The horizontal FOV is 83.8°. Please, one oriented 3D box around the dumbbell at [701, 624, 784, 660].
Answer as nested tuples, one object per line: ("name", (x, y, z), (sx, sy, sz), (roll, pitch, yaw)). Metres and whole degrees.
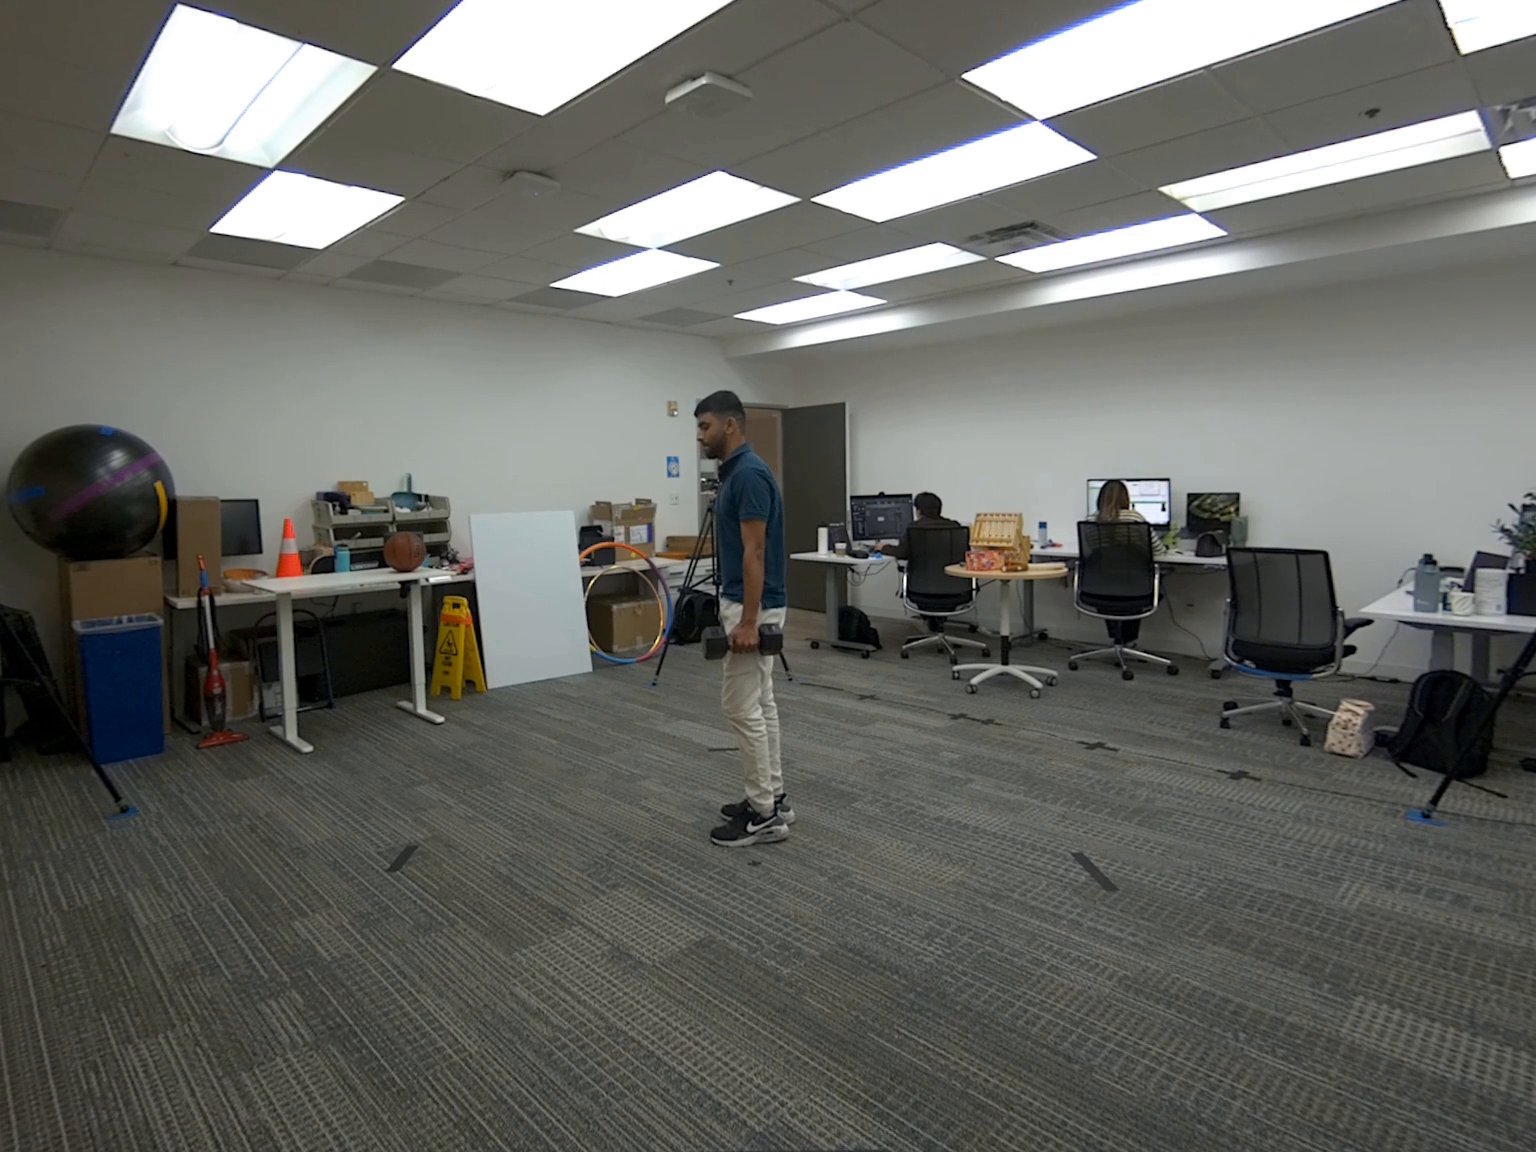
("dumbbell", (-0.096, 0.245, 3.179), (0.291, 0.122, 0.110), (-4, 4, -10))
